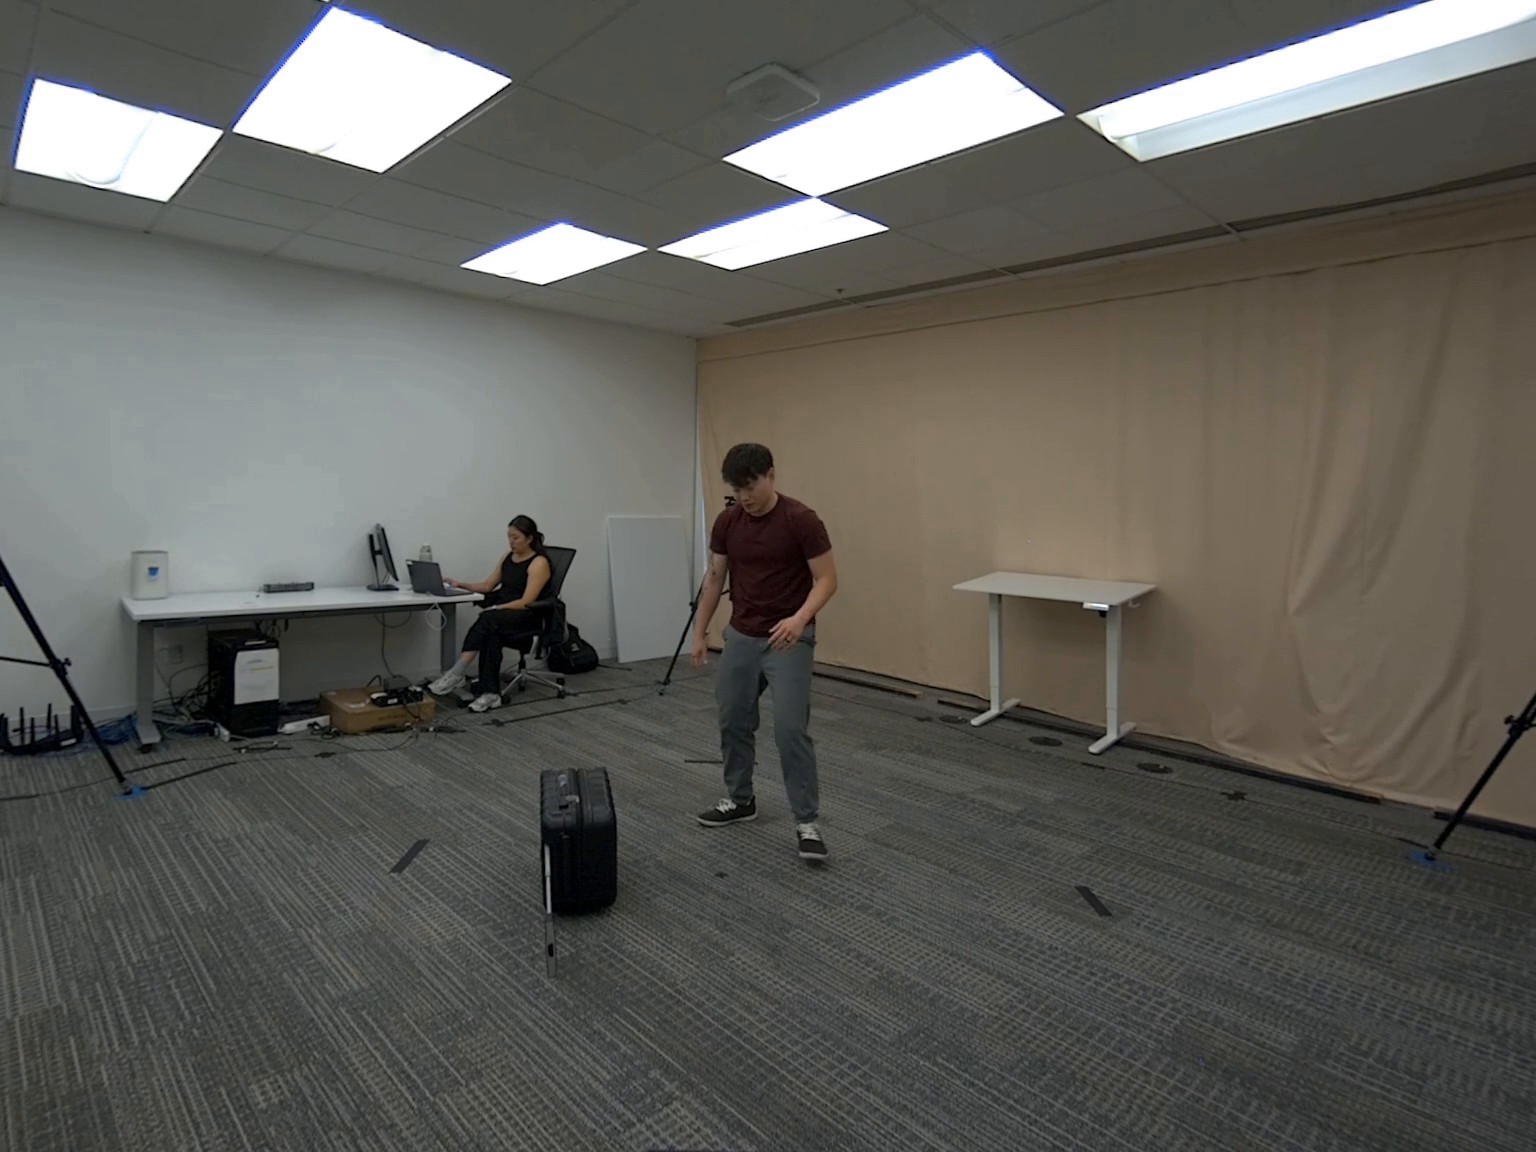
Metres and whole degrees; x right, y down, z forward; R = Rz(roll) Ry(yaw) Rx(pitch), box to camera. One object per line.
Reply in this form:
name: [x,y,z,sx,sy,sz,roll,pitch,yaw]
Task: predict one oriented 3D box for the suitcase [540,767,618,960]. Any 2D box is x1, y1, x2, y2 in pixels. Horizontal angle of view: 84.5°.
suitcase: [-0.618,0.937,2.767,0.254,0.382,0.994,0,6,-17]
